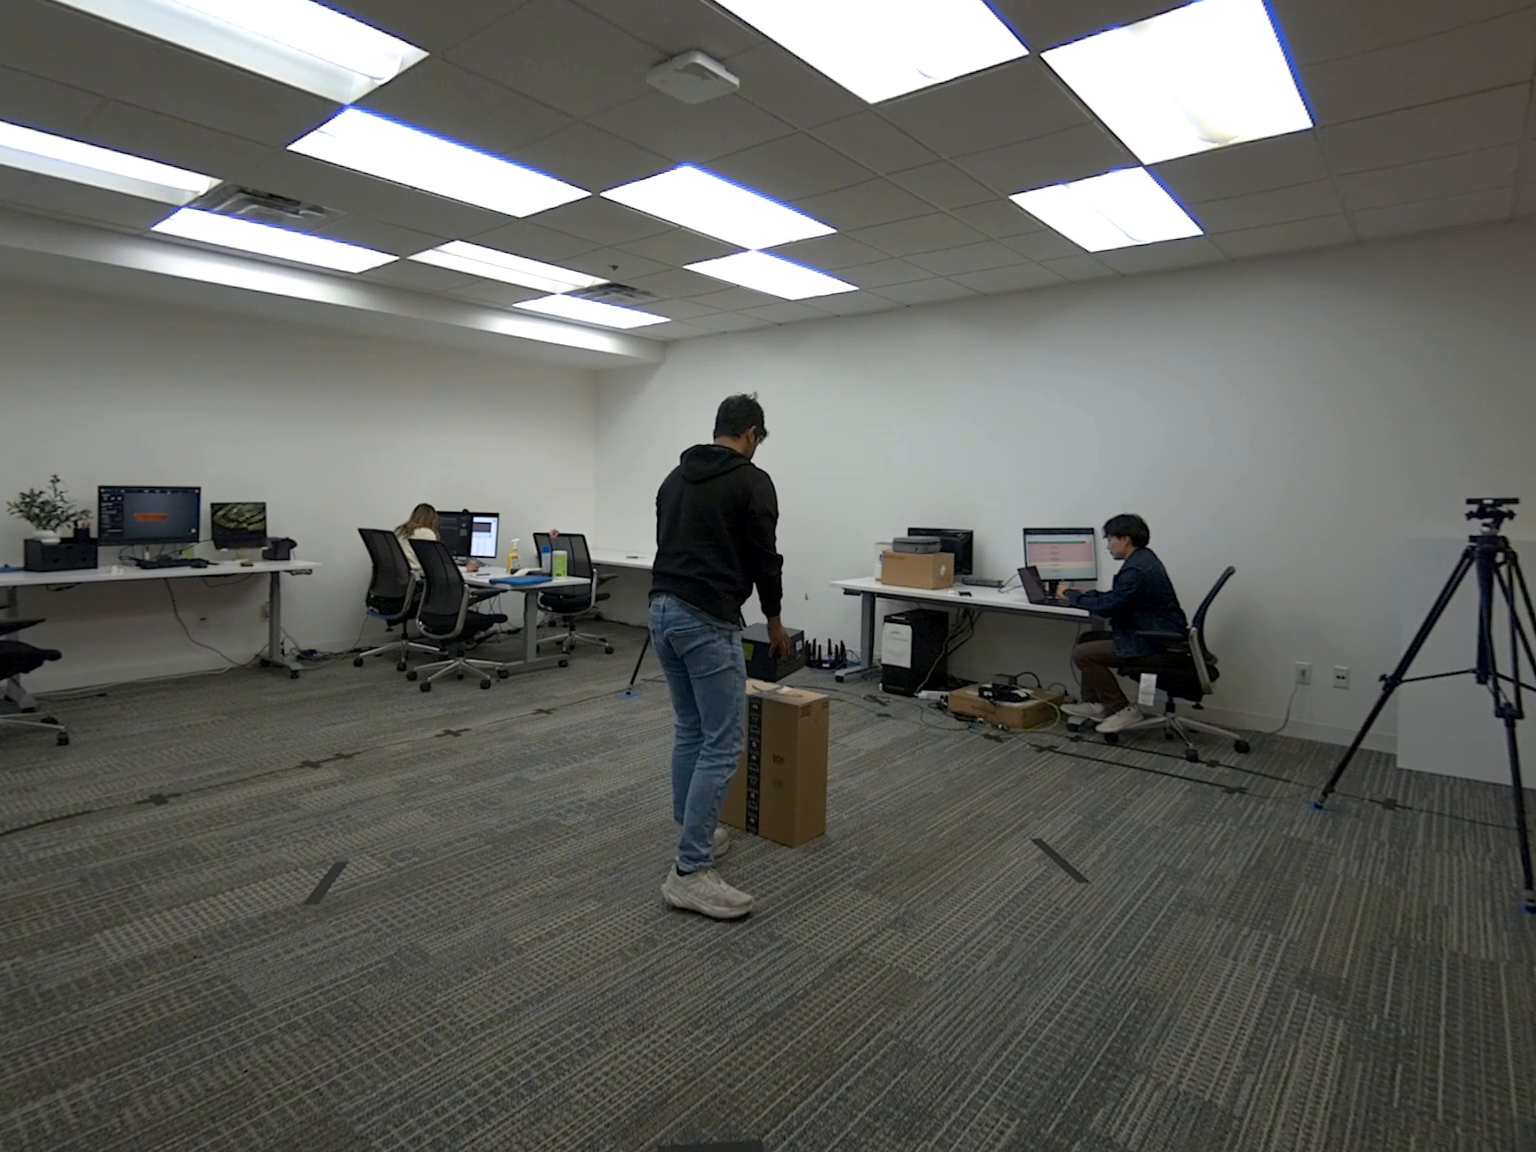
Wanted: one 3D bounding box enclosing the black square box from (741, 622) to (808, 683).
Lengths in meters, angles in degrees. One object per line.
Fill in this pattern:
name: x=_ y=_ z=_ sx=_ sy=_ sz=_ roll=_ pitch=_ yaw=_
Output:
black square box: x=-0.013 y=0.298 z=3.376 sx=0.235 sy=0.154 sz=0.212 roll=6 pitch=14 yaw=35
